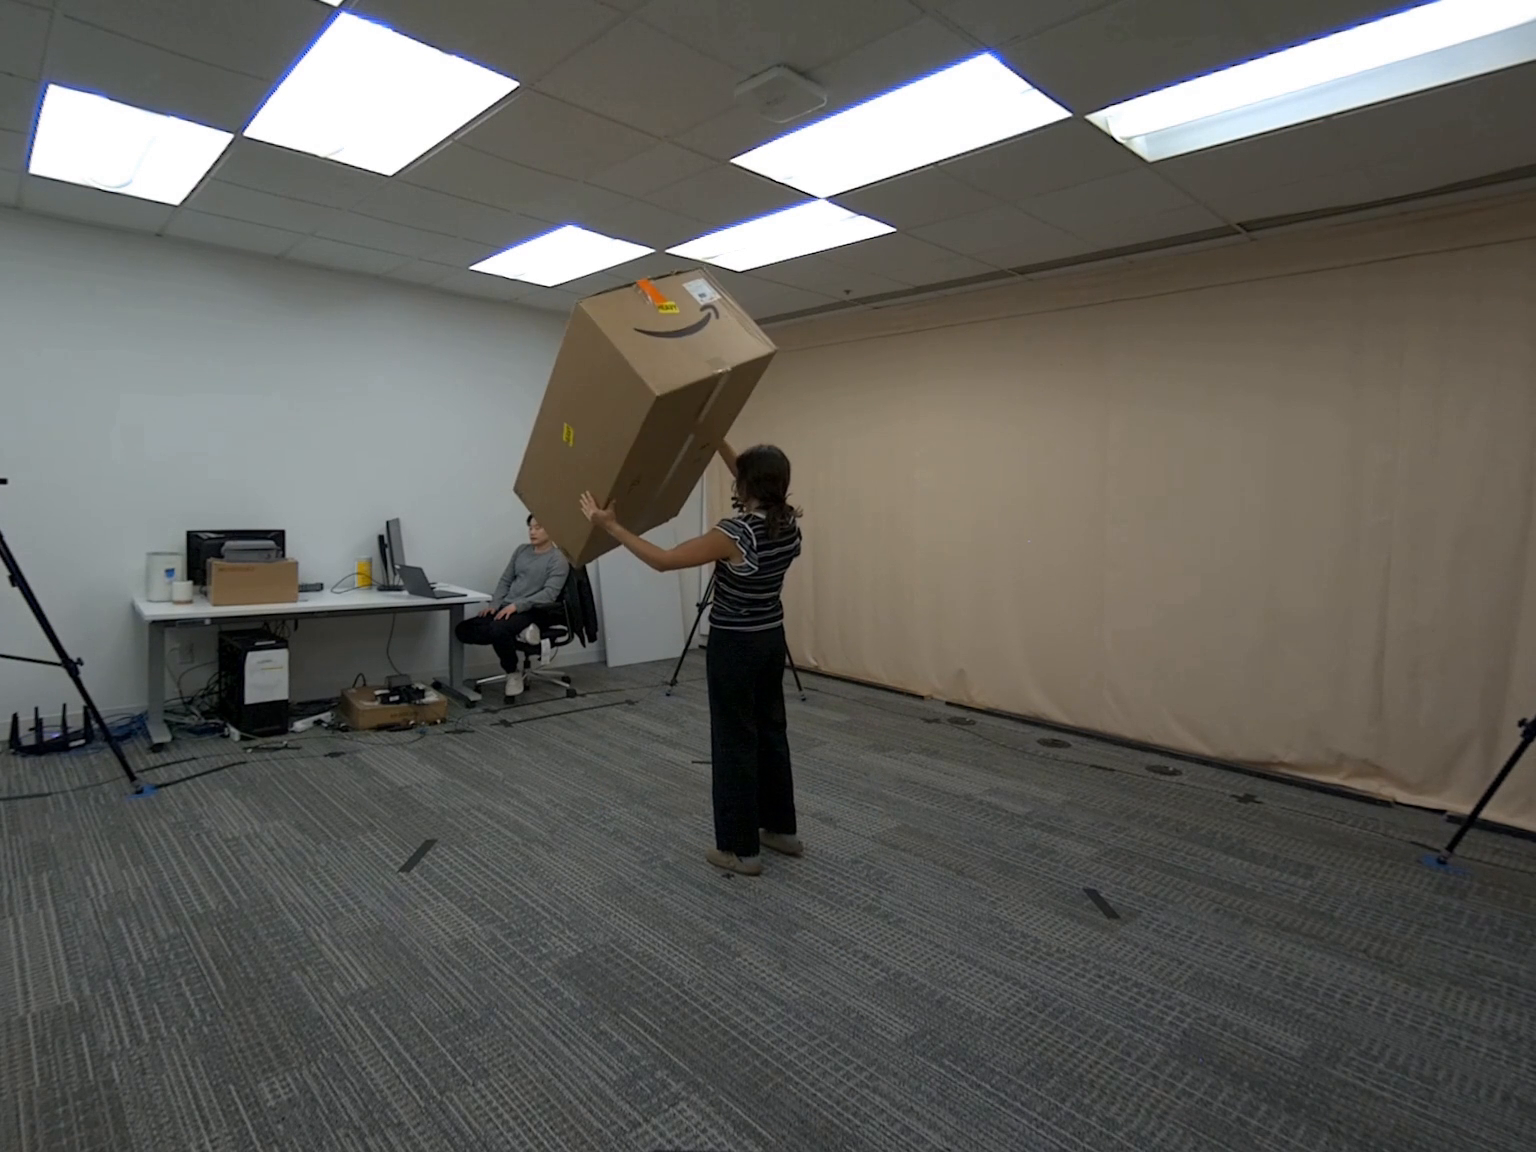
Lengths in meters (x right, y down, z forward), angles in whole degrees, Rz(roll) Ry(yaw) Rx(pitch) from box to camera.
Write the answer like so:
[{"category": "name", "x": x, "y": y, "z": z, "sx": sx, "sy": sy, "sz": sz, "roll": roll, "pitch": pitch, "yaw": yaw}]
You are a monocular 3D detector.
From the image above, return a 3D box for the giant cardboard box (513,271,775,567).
[{"category": "giant cardboard box", "x": -0.486, "y": -0.563, "z": 3.136, "sx": 0.572, "sy": 0.431, "sz": 1.022, "roll": -31, "pitch": -13, "yaw": -39}]
